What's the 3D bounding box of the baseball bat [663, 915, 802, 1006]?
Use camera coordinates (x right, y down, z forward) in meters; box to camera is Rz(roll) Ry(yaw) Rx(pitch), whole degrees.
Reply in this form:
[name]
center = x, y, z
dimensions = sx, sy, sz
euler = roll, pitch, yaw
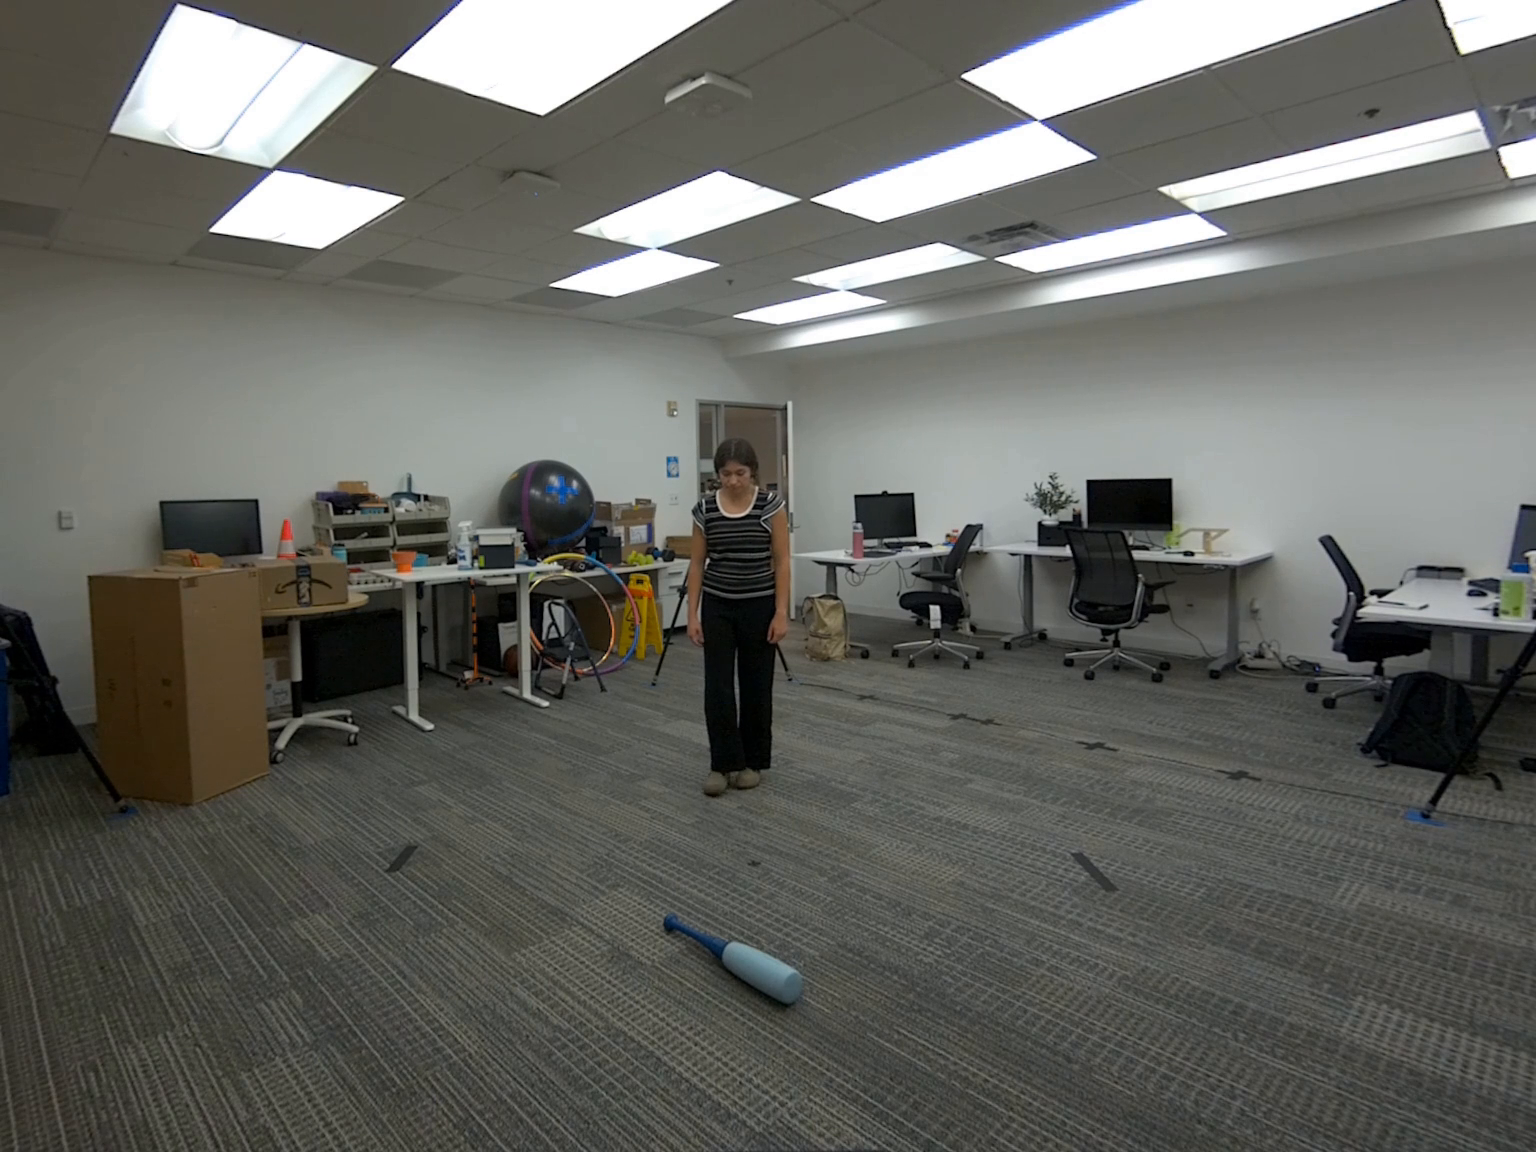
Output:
[baseball bat]
center = -0.121, 1.092, 2.460
dimensions = 0.087, 0.089, 0.559
euler = -5, 4, -43
